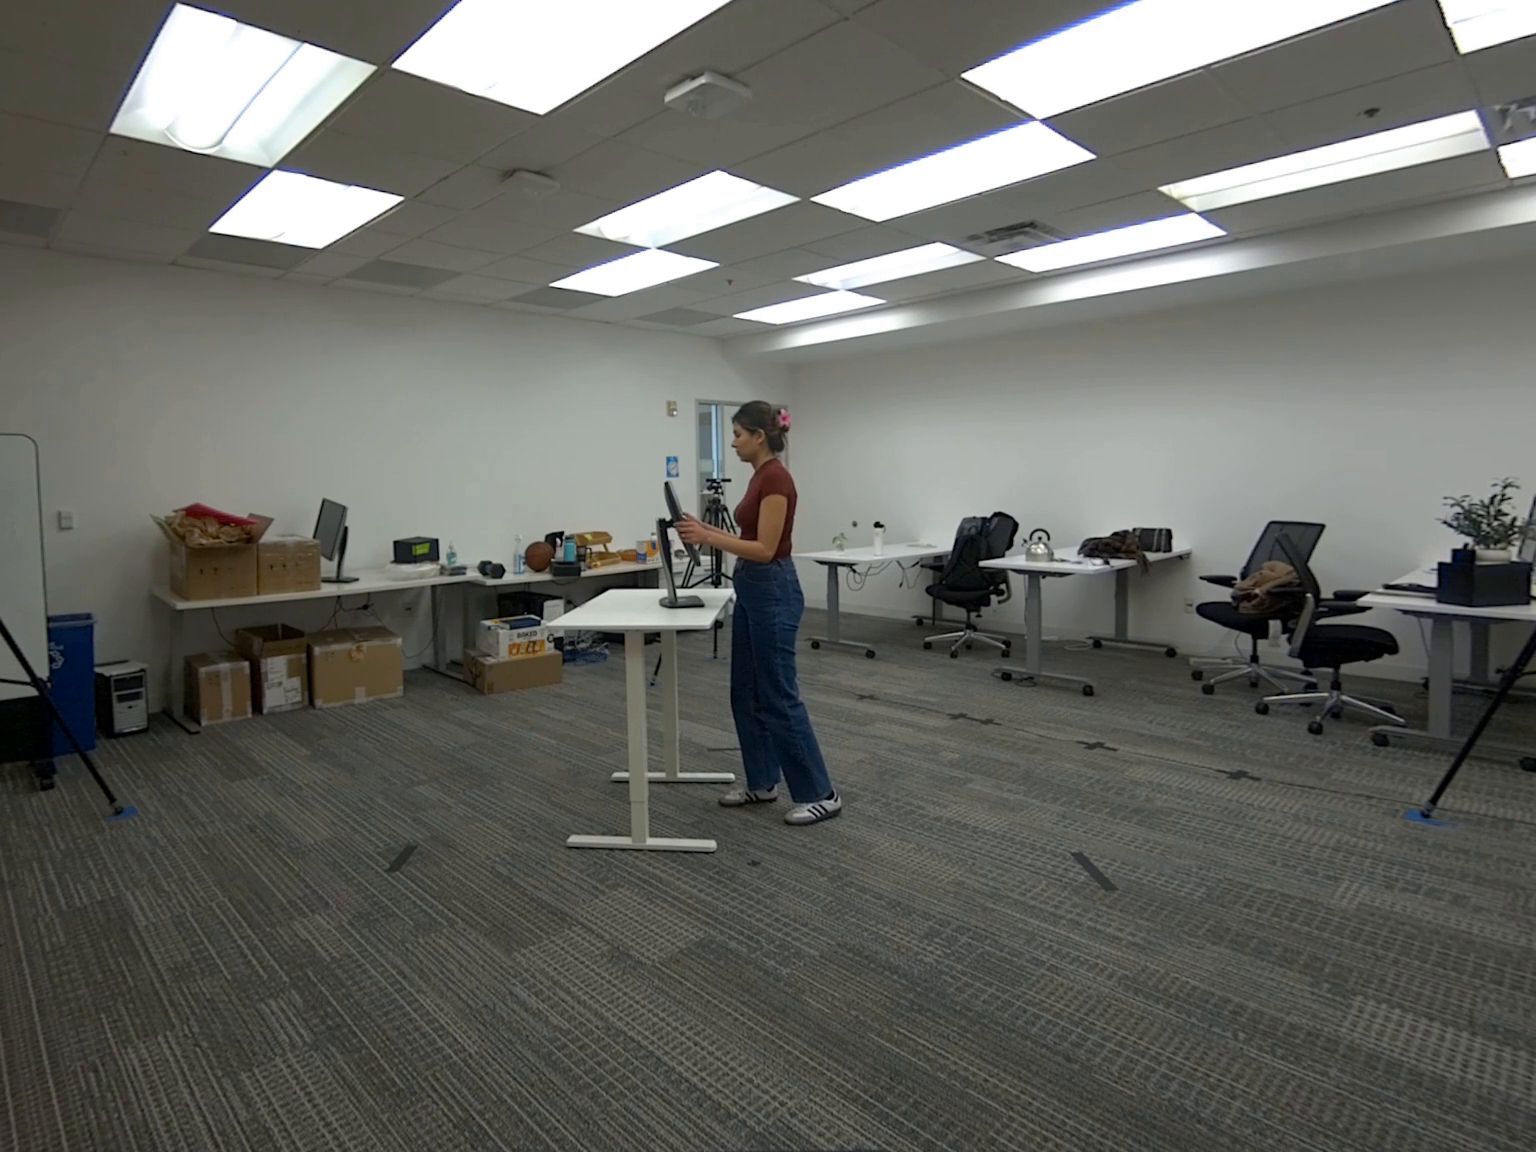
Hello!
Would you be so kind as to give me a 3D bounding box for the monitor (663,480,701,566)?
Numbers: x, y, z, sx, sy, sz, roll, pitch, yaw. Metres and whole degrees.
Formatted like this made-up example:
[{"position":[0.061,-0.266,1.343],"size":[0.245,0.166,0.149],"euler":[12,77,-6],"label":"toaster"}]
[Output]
[{"position":[-0.378,-0.136,3.566],"size":[0.186,0.520,0.544],"euler":[-5,5,-7],"label":"monitor"}]
